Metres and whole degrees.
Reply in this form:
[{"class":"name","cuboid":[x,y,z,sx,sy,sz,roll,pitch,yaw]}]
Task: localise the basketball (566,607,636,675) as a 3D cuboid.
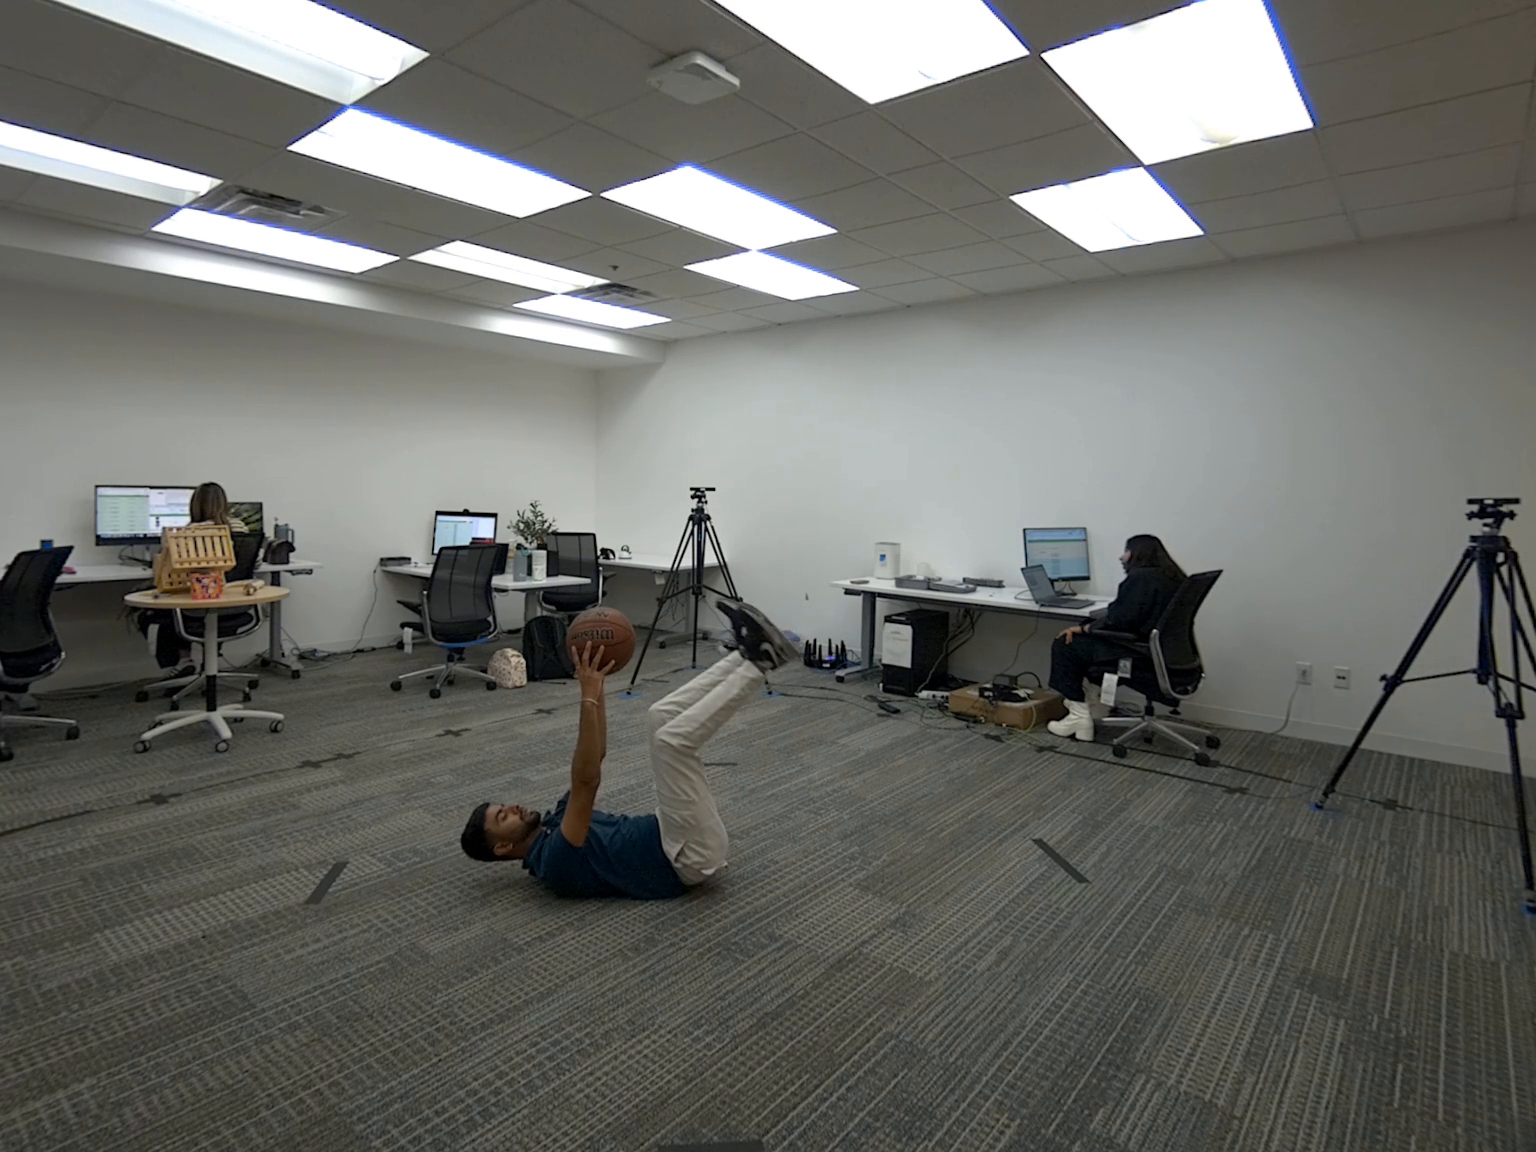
[{"class":"basketball","cuboid":[-0.593,0.221,2.952,0.235,0.235,0.237,1,4,-2]}]
